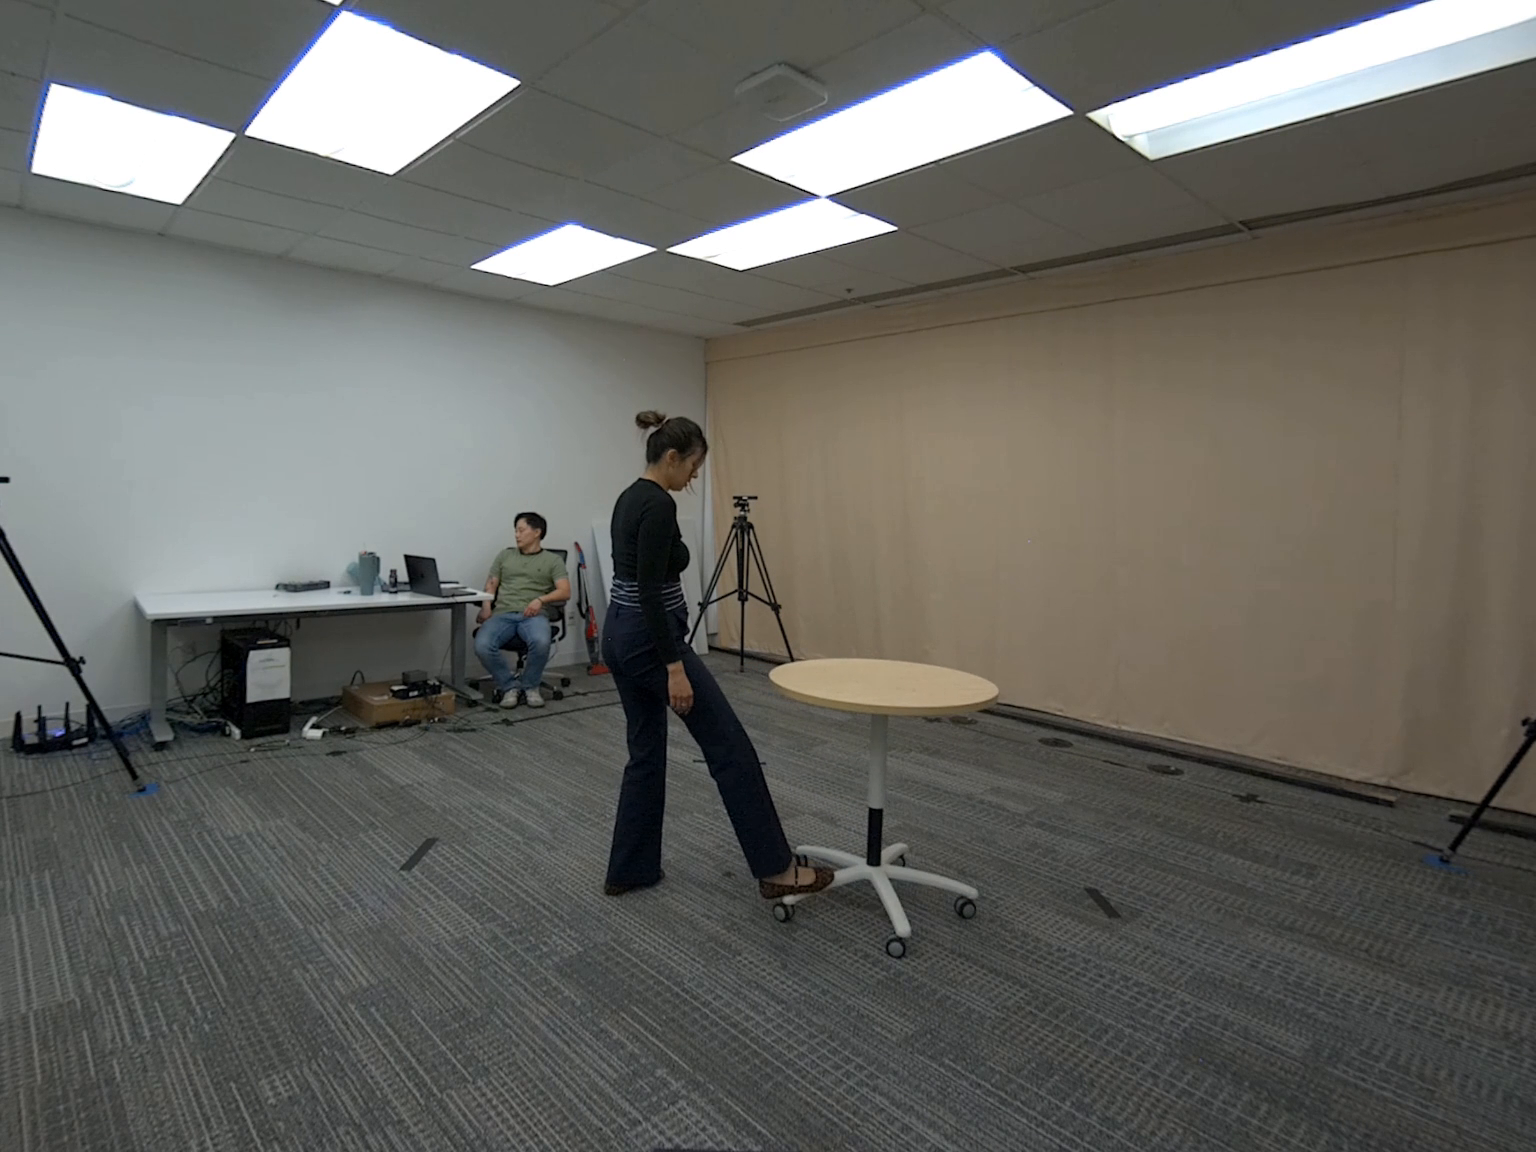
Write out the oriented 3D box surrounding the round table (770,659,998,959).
[{"bbox_3d":[0.353,0.744,2.887,0.763,0.792,0.766,2,4,-1],"label":"round table"}]
